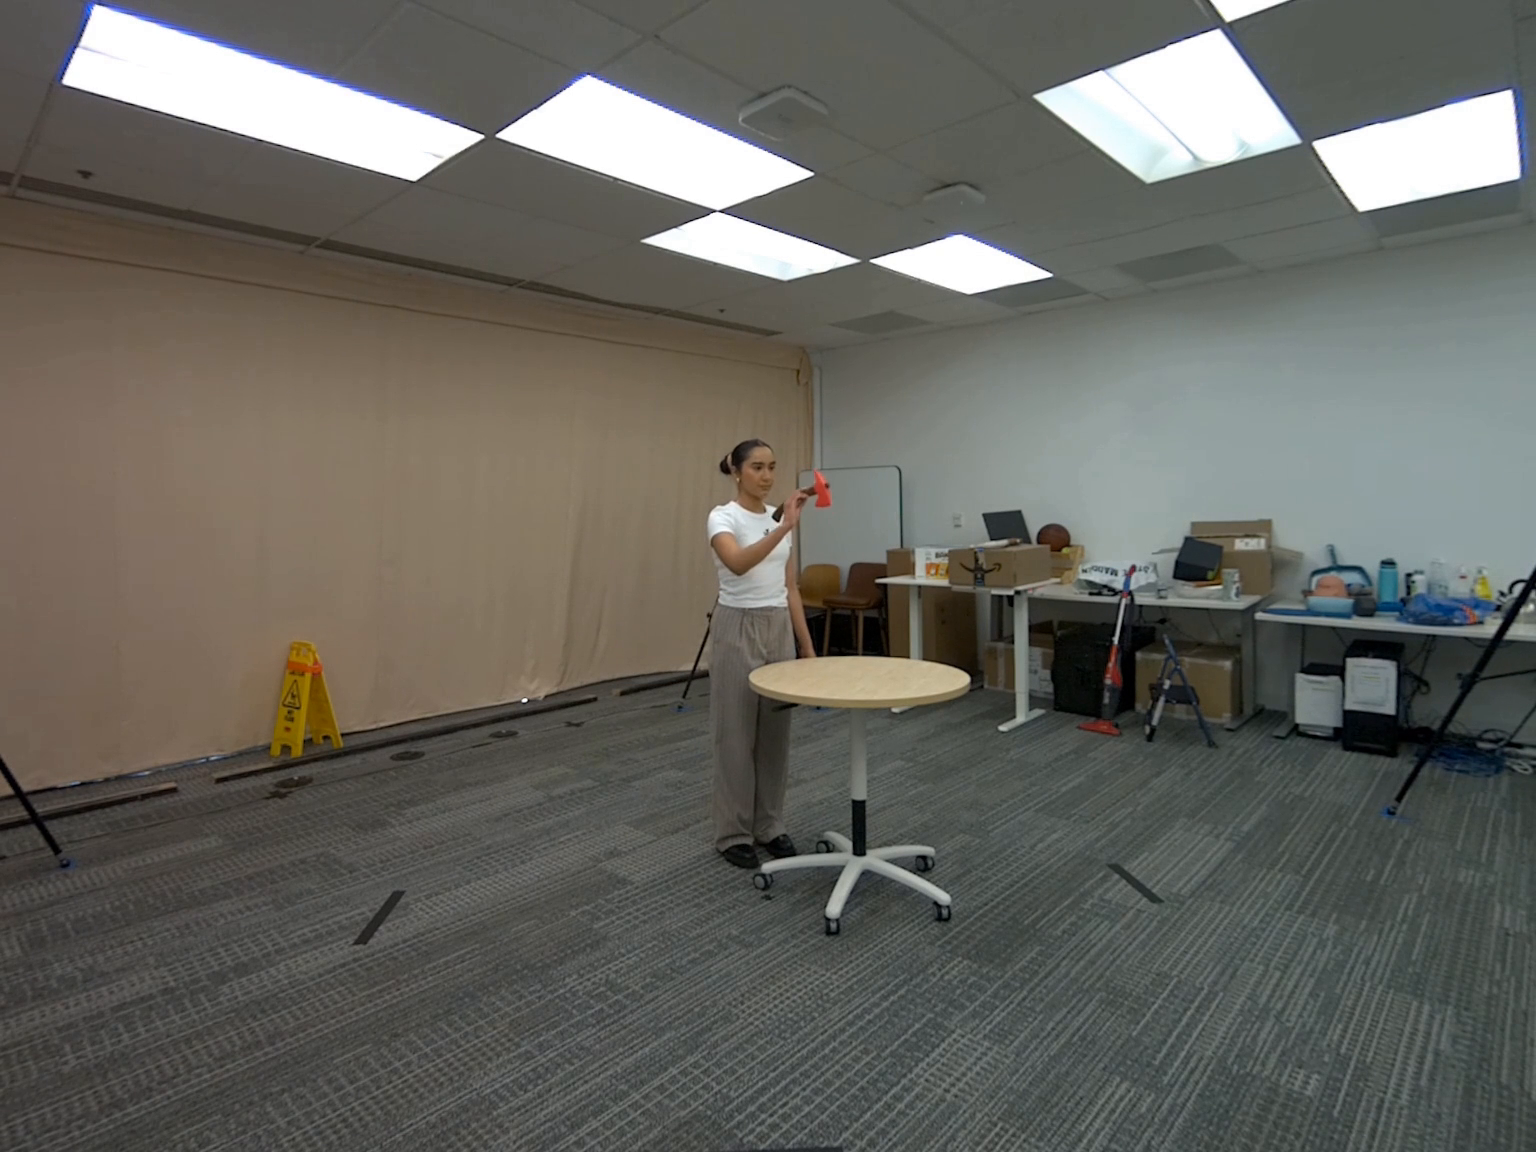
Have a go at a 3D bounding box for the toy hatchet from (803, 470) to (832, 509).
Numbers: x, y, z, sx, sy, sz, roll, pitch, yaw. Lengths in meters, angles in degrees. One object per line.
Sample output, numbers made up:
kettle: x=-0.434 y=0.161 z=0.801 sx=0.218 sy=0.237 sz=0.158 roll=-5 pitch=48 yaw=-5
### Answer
toy hatchet: x=0.133 y=-0.237 z=2.979 sx=0.029 sy=0.133 sz=0.272 roll=-22 pitch=-19 yaw=-50
